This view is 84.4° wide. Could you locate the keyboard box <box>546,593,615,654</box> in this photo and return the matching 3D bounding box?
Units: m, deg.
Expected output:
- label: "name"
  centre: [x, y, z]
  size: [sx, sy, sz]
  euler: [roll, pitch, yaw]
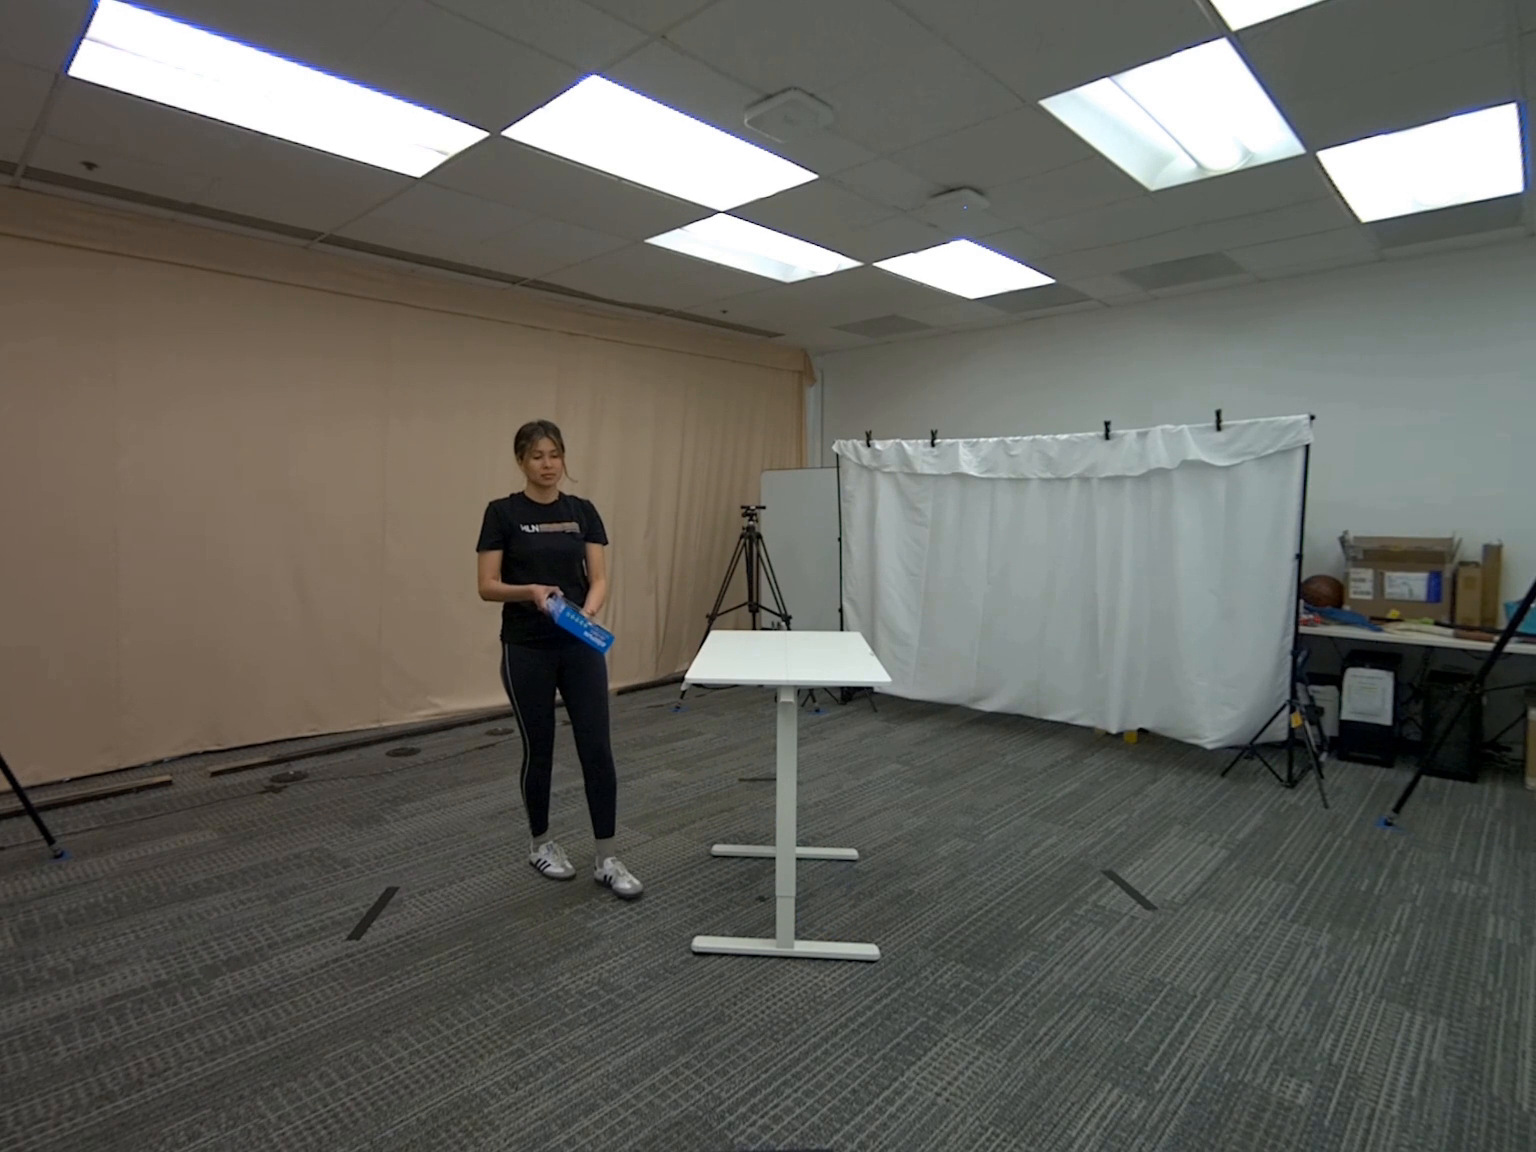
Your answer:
- label: "keyboard box"
  centre: [-0.592, 0.143, 2.621]
  size: [0.173, 0.059, 0.445]
  euler: [35, -7, -17]
